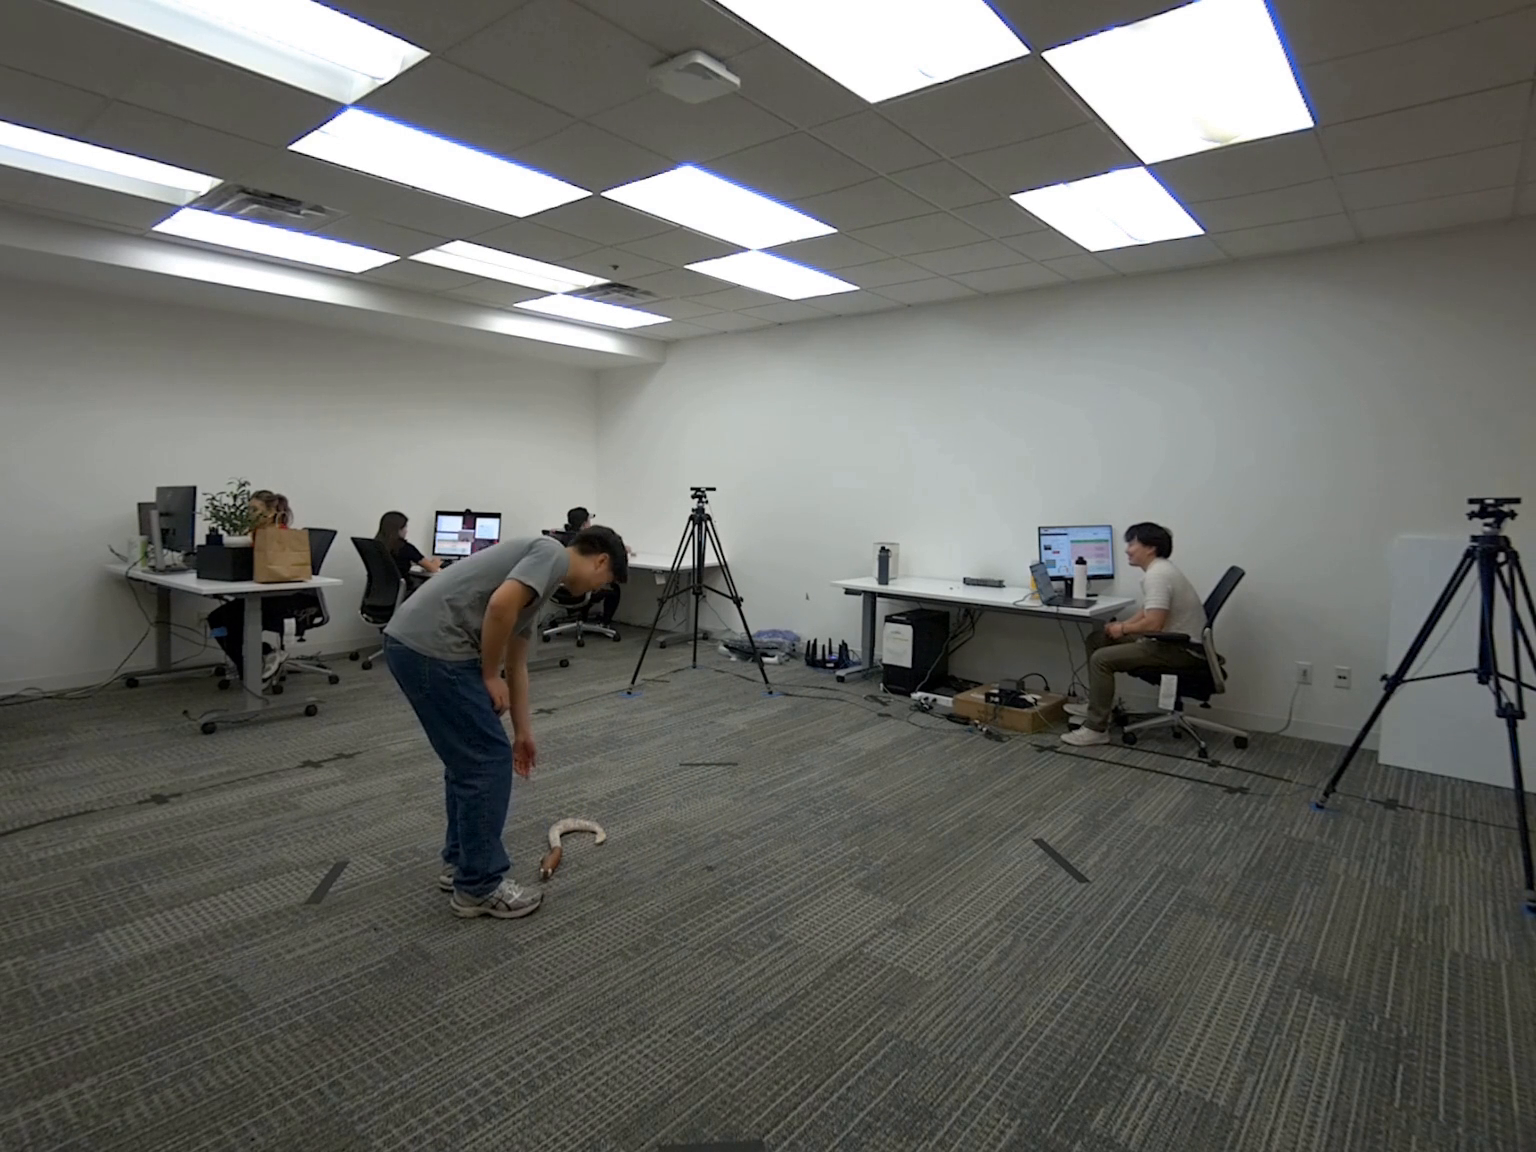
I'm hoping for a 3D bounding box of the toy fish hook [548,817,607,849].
[{"bbox_3d":[-0.755,1.022,3.222,0.224,0.048,0.510,0,6,-3],"label":"toy fish hook"}]
